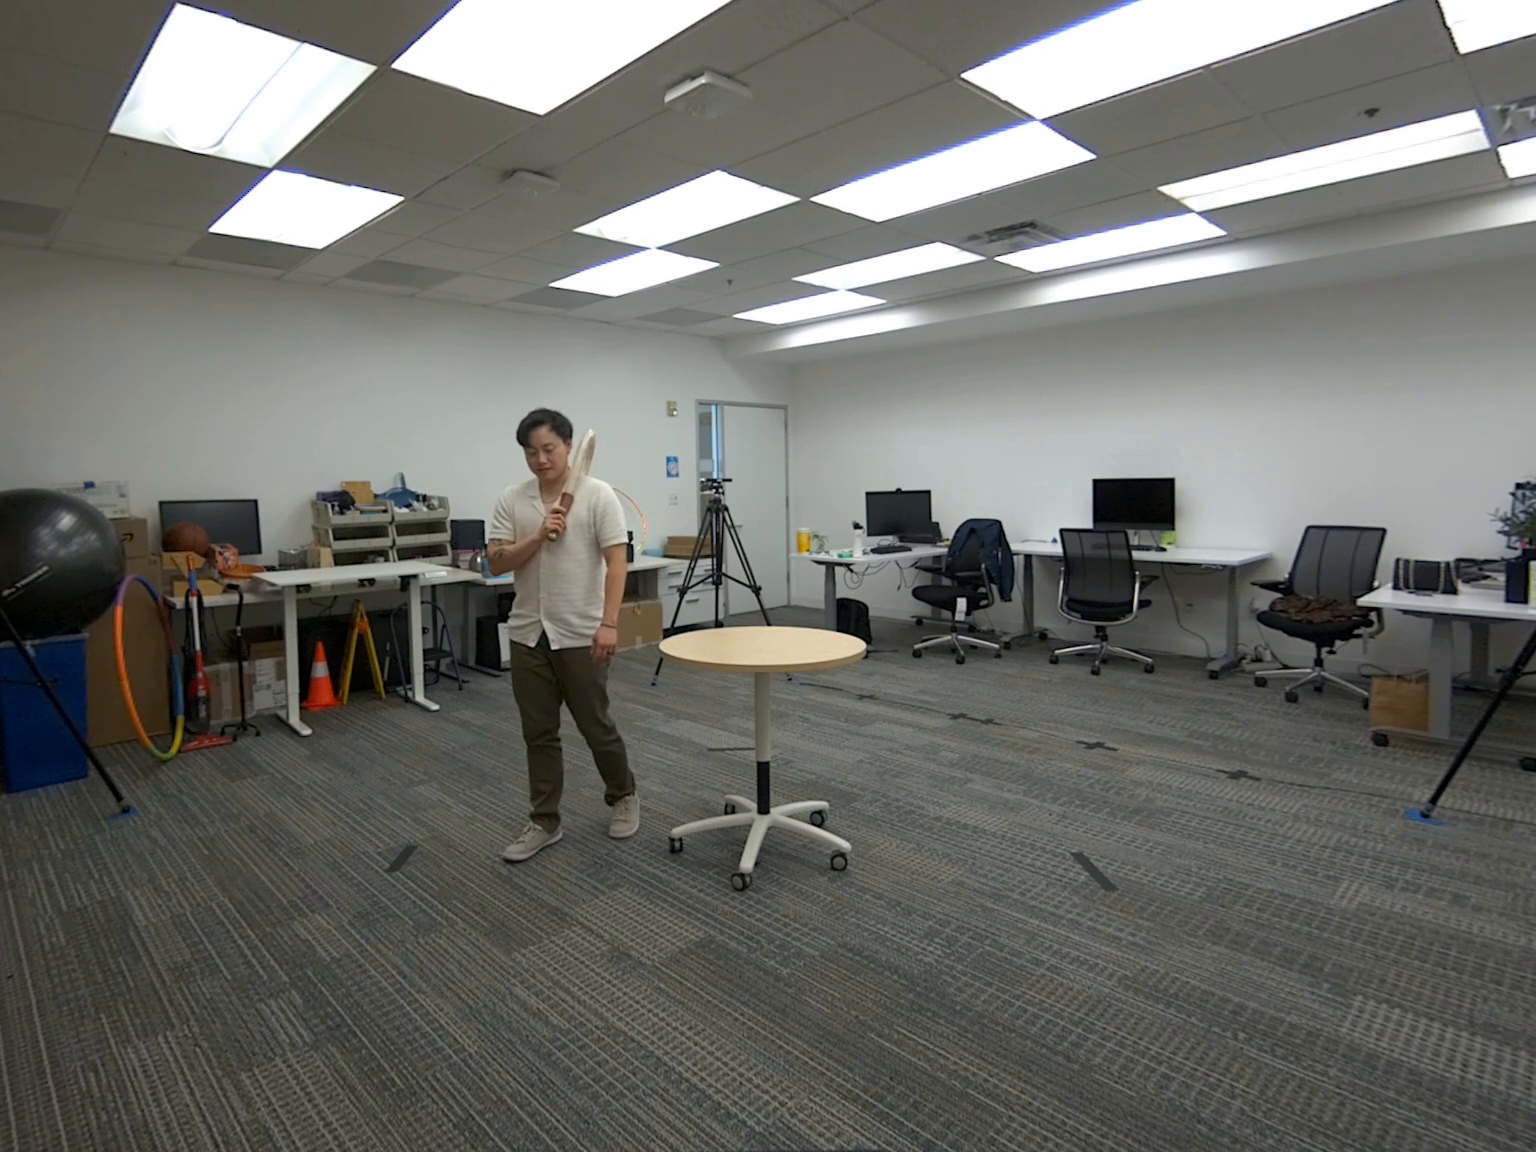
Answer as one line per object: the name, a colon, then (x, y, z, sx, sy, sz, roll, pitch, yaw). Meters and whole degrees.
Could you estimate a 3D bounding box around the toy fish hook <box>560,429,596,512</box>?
toy fish hook: (-0.741, -0.326, 3.248, 0.048, 0.515, 0.219, 11, -29, 3)
